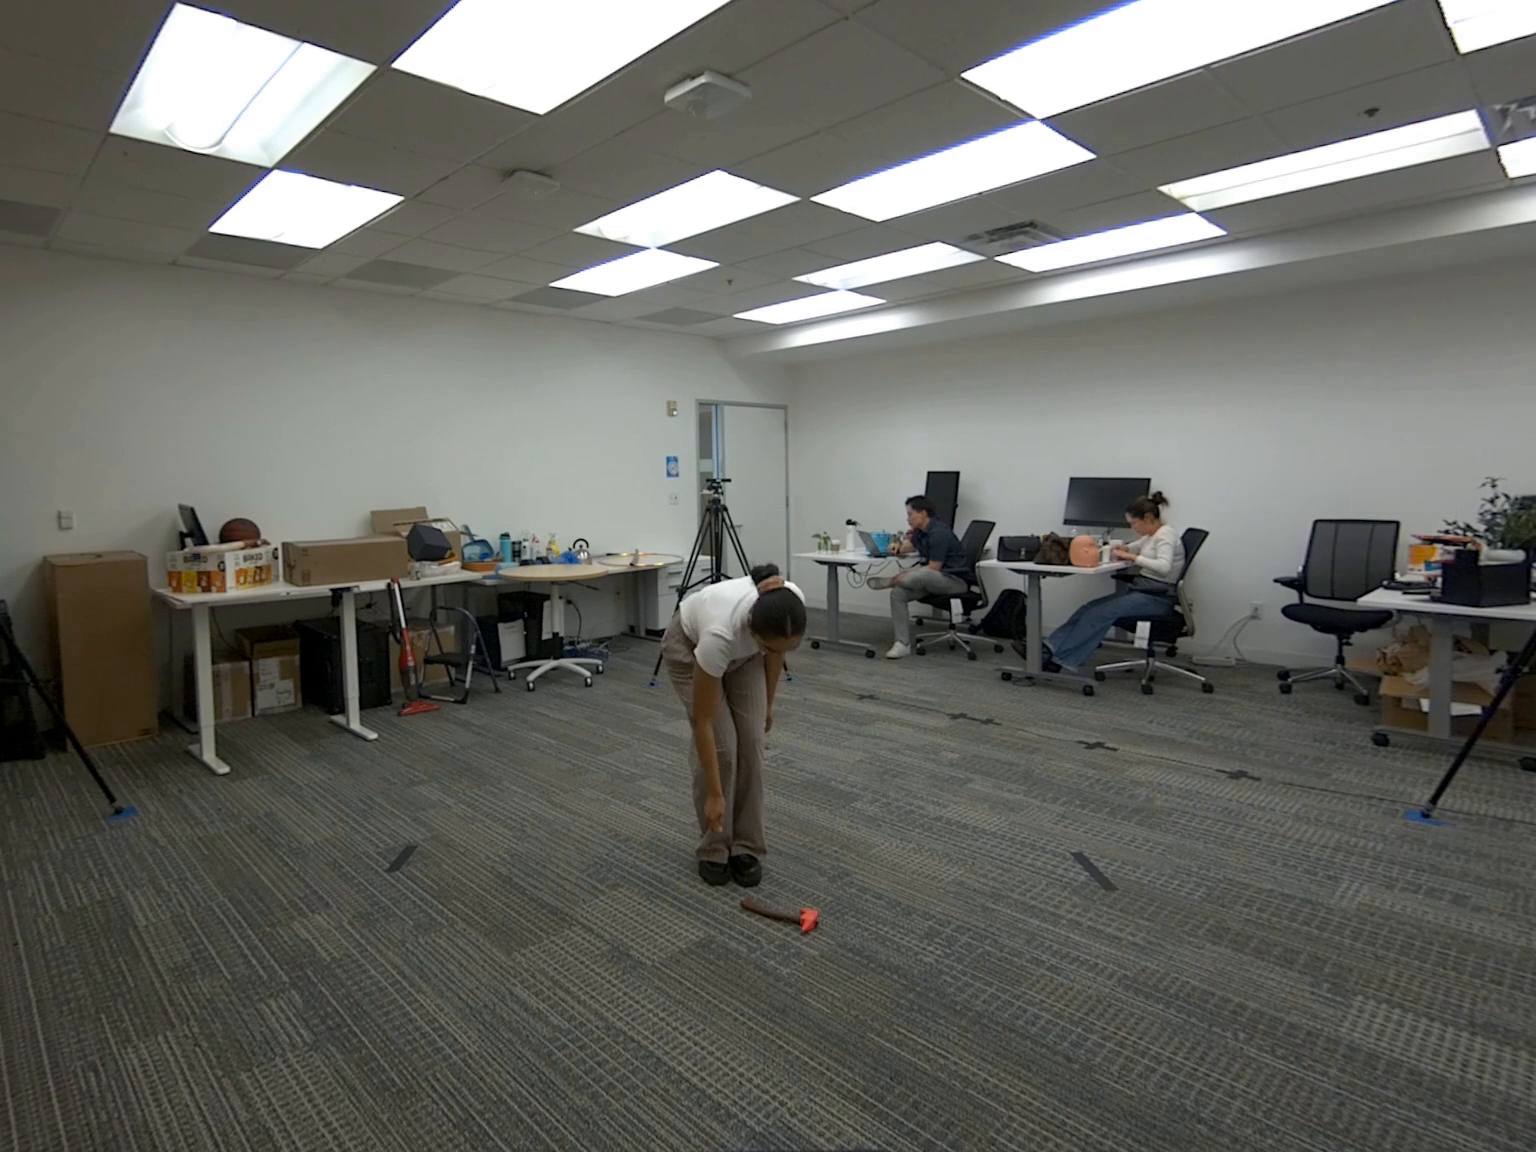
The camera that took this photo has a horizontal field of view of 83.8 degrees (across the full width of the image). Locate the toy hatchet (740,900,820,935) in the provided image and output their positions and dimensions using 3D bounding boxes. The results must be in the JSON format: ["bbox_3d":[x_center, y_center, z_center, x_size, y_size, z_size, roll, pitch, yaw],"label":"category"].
[{"bbox_3d":[0.052,1.080,2.739,0.278,0.029,0.128,3,10,41],"label":"toy hatchet"}]
